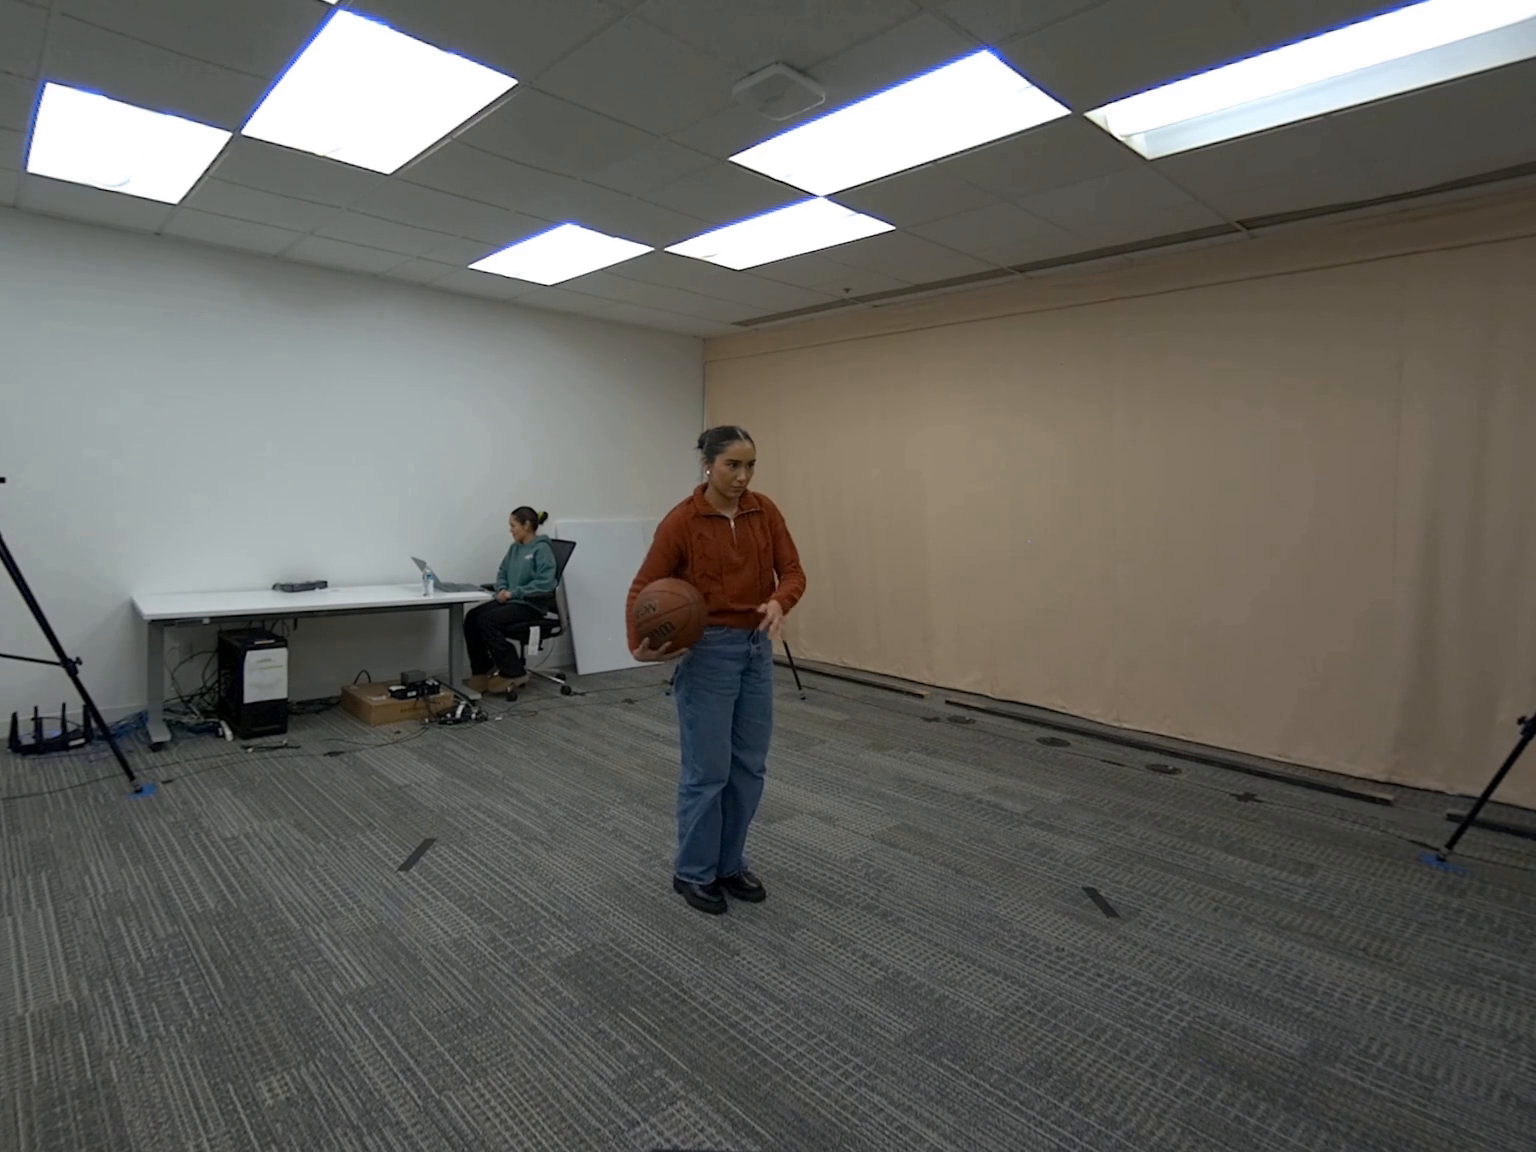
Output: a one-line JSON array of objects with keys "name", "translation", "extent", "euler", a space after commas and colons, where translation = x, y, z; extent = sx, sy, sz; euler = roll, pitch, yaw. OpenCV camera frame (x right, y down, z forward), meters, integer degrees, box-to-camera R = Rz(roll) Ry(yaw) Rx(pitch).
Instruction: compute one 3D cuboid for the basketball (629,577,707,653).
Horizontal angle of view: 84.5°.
[{"name": "basketball", "translation": [-0.301, 0.129, 2.633], "extent": [0.236, 0.235, 0.237], "euler": [1, 4, -1]}]
